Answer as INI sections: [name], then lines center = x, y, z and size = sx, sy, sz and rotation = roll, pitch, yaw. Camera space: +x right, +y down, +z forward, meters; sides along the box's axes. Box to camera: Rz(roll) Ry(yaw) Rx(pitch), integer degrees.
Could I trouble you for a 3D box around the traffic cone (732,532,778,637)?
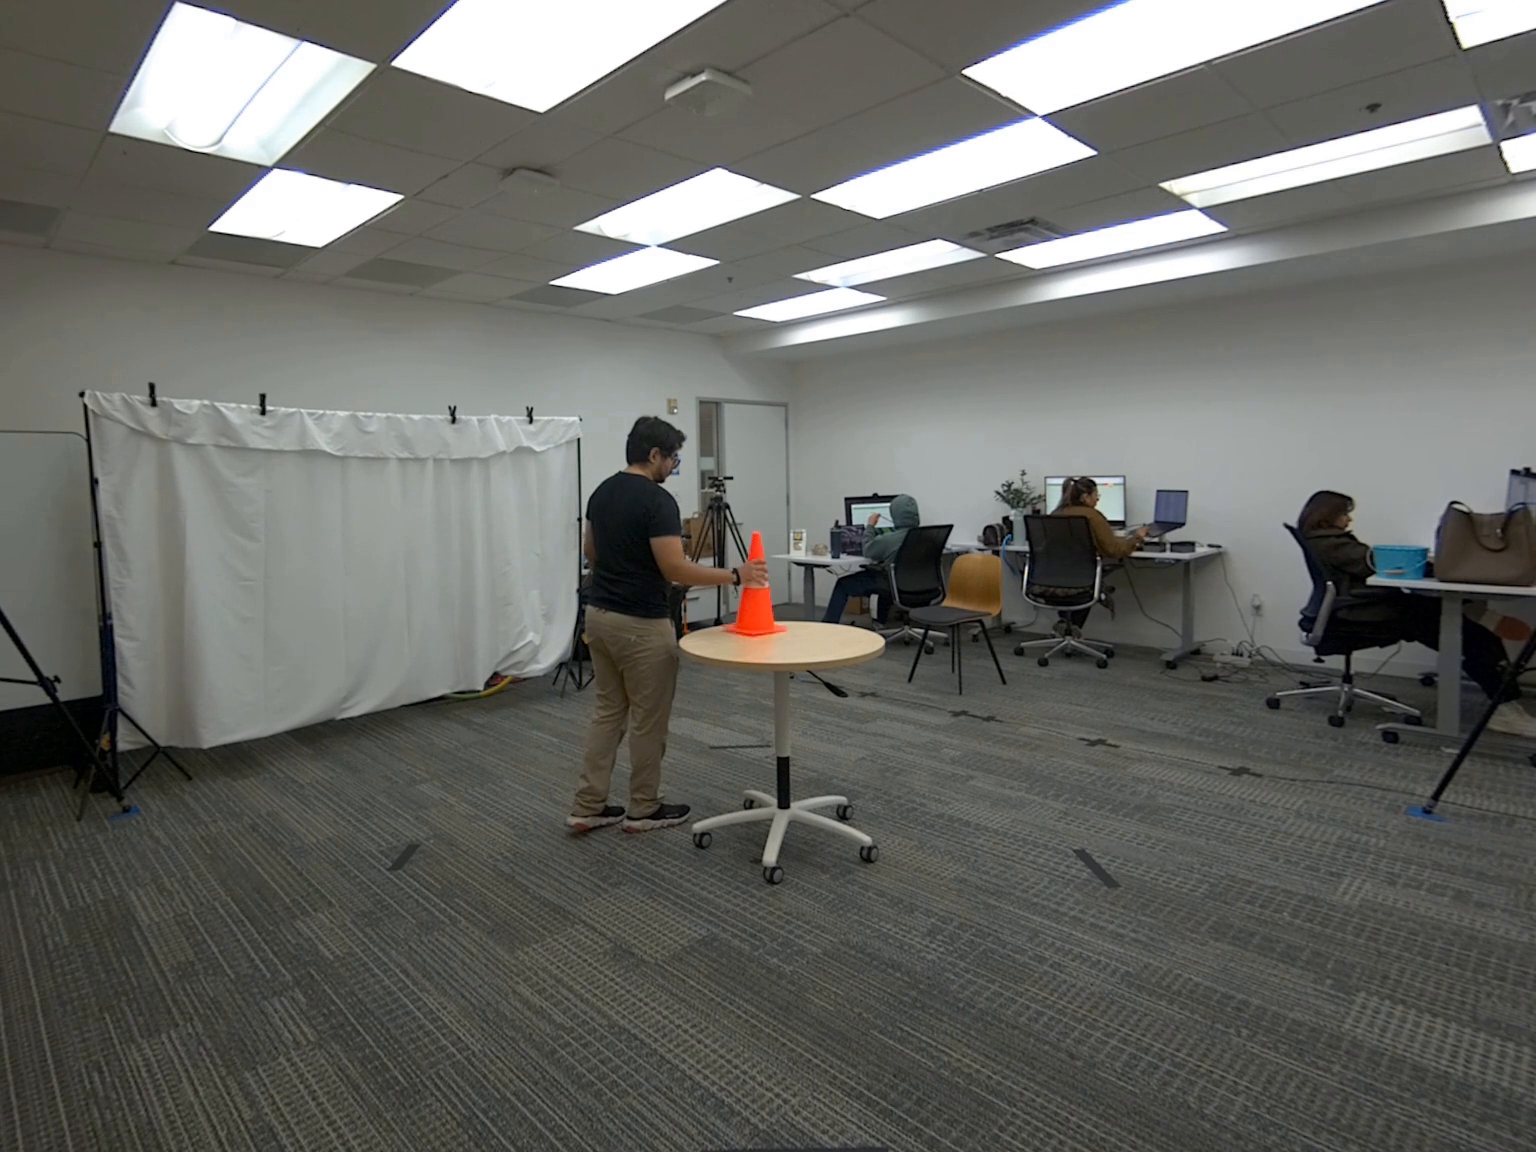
[traffic cone]
center = -0.048, 0.012, 3.366
size = 0.210, 0.381, 0.200
rotation = 6, 10, 43
